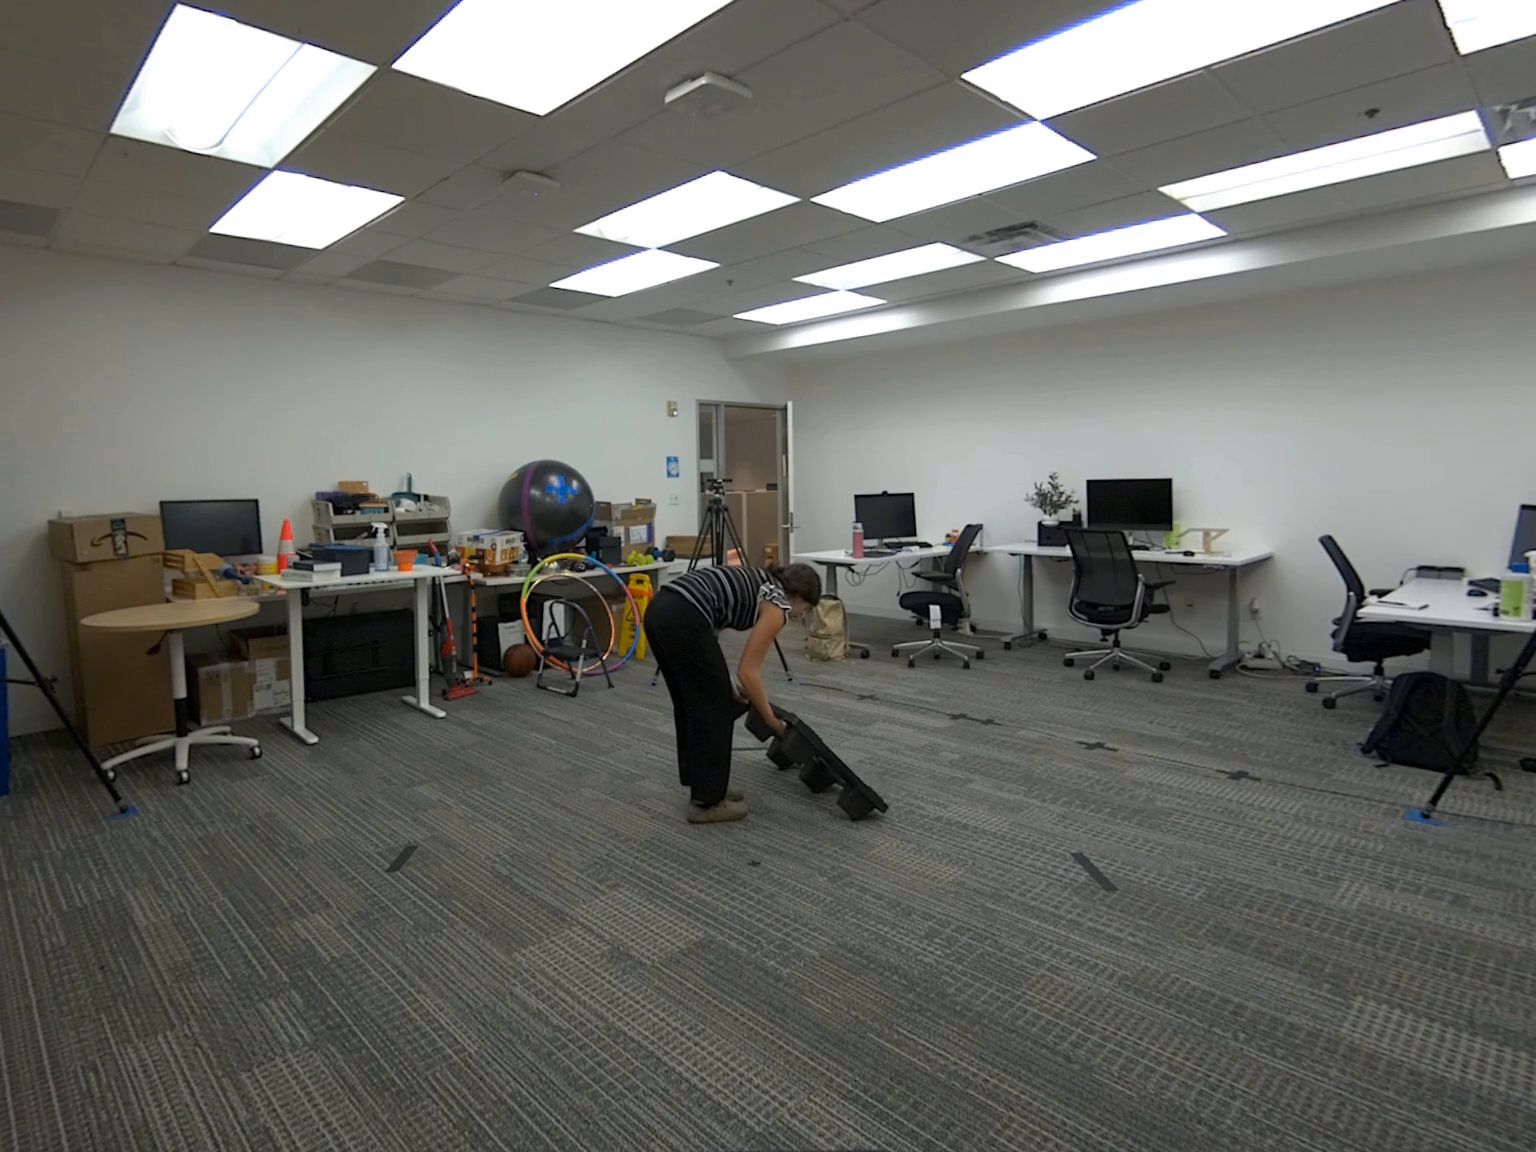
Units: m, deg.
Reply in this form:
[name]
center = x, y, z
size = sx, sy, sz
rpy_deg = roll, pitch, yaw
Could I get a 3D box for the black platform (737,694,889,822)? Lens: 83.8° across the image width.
[black platform]
center = 0.097, 0.762, 3.752
size = 0.591, 0.143, 0.825
rpy_deg = 46, -14, -20
